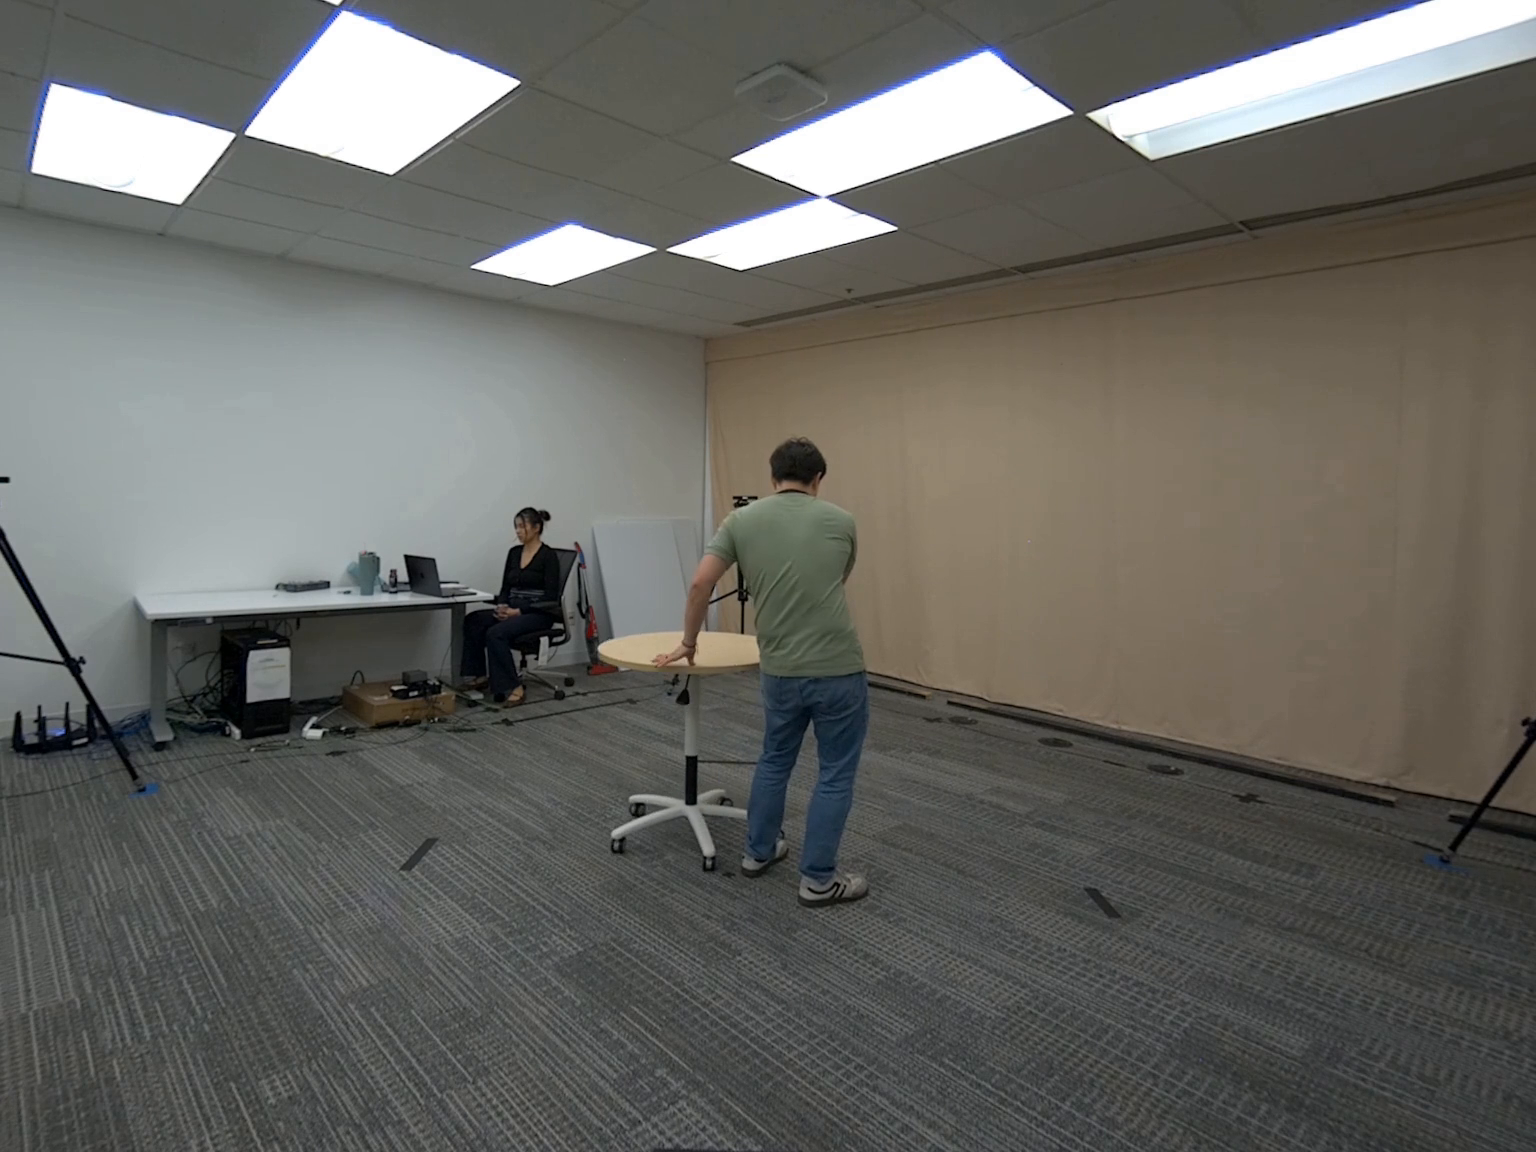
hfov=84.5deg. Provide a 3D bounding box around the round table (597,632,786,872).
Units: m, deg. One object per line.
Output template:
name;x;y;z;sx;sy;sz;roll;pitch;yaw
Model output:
round table;-0.310;0.681;3.416;0.763;0.792;0.767;1;4;-1
